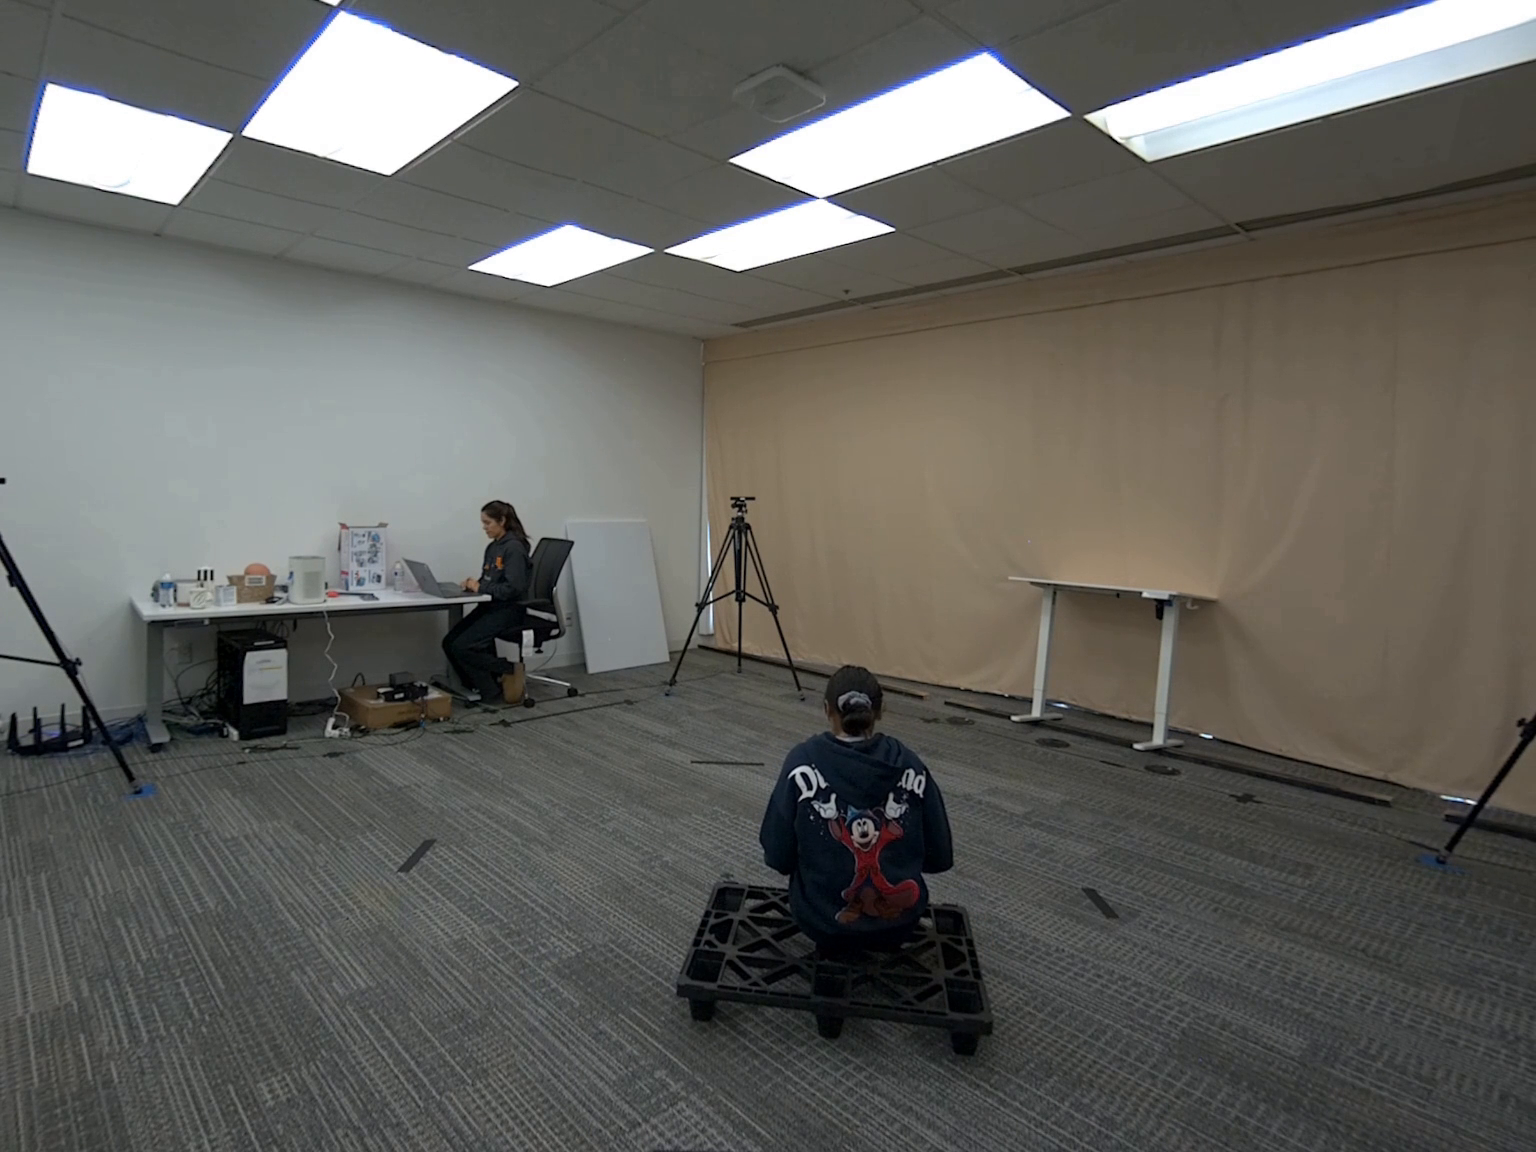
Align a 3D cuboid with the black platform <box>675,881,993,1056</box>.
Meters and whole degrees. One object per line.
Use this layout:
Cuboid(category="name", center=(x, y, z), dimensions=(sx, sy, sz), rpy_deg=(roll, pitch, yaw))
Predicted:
Cuboid(category="black platform", center=(0.190, 1.113, 2.406), dimensions=(0.811, 0.143, 0.603), rpy_deg=(2, 6, 7))
